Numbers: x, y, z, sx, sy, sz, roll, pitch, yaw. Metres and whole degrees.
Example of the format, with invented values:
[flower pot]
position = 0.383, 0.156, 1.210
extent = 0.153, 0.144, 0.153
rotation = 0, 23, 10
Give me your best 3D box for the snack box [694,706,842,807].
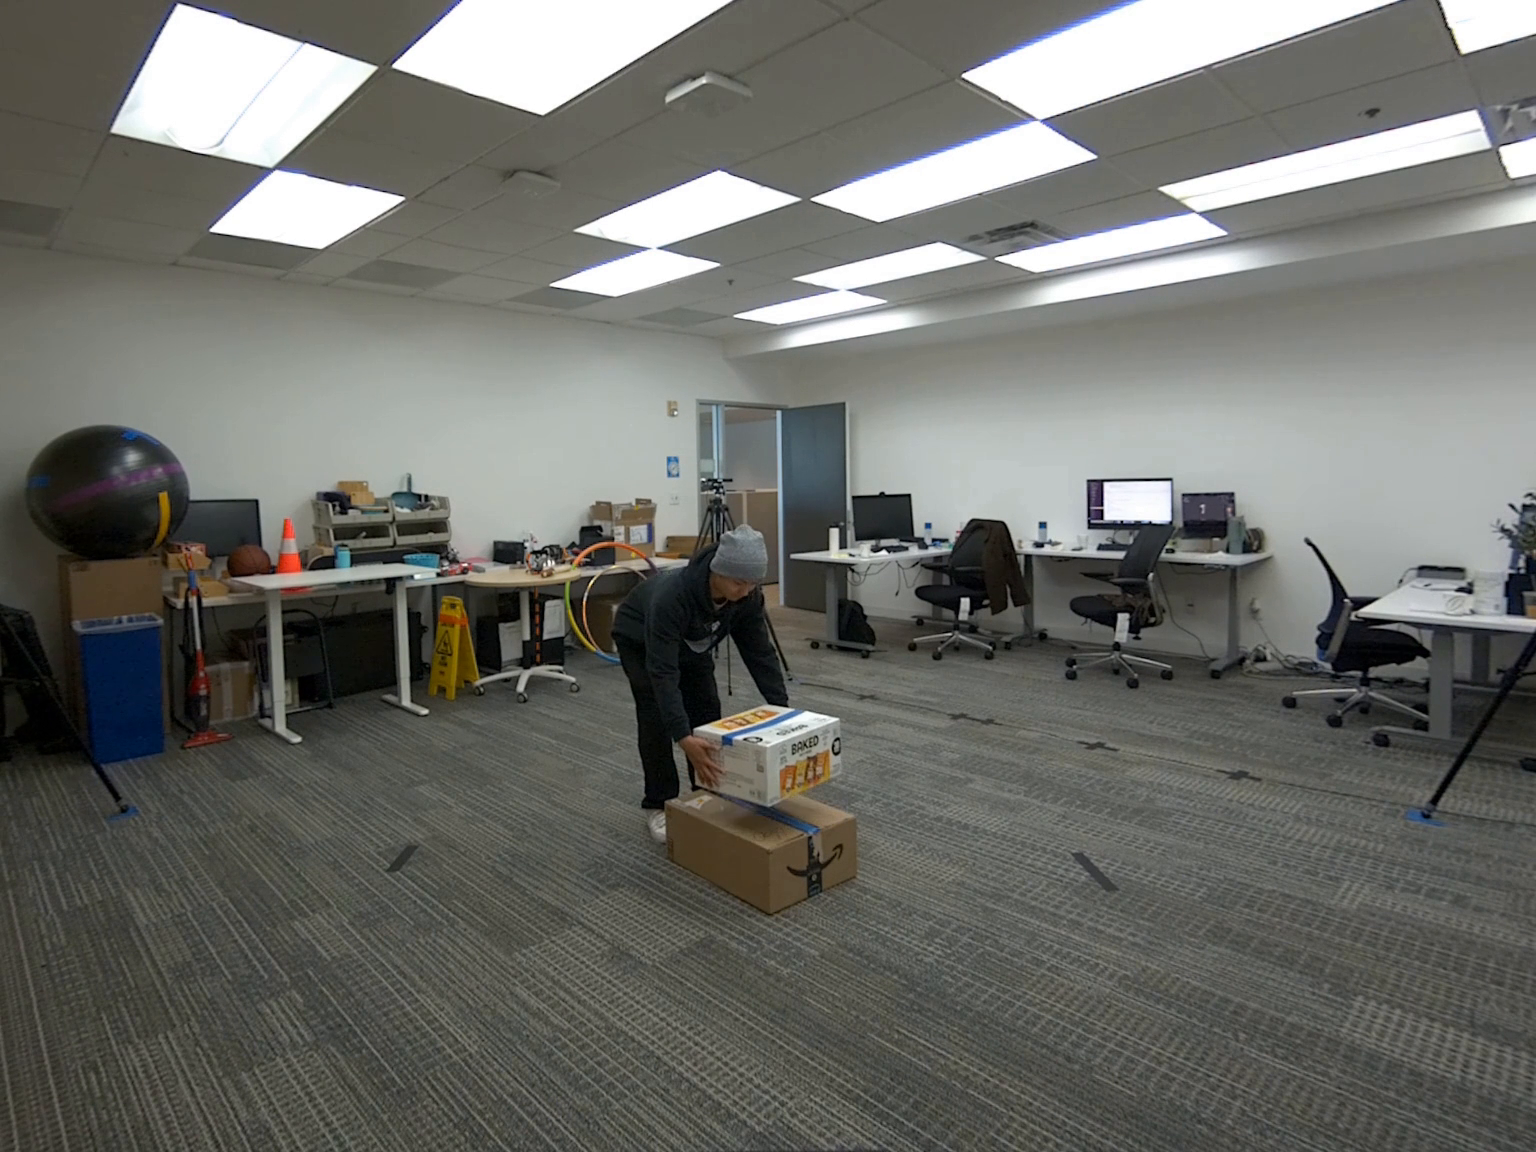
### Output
[snack box]
position = 0.002, 0.619, 3.005
extent = 0.350, 0.205, 0.395
rotation = 2, 7, 42
